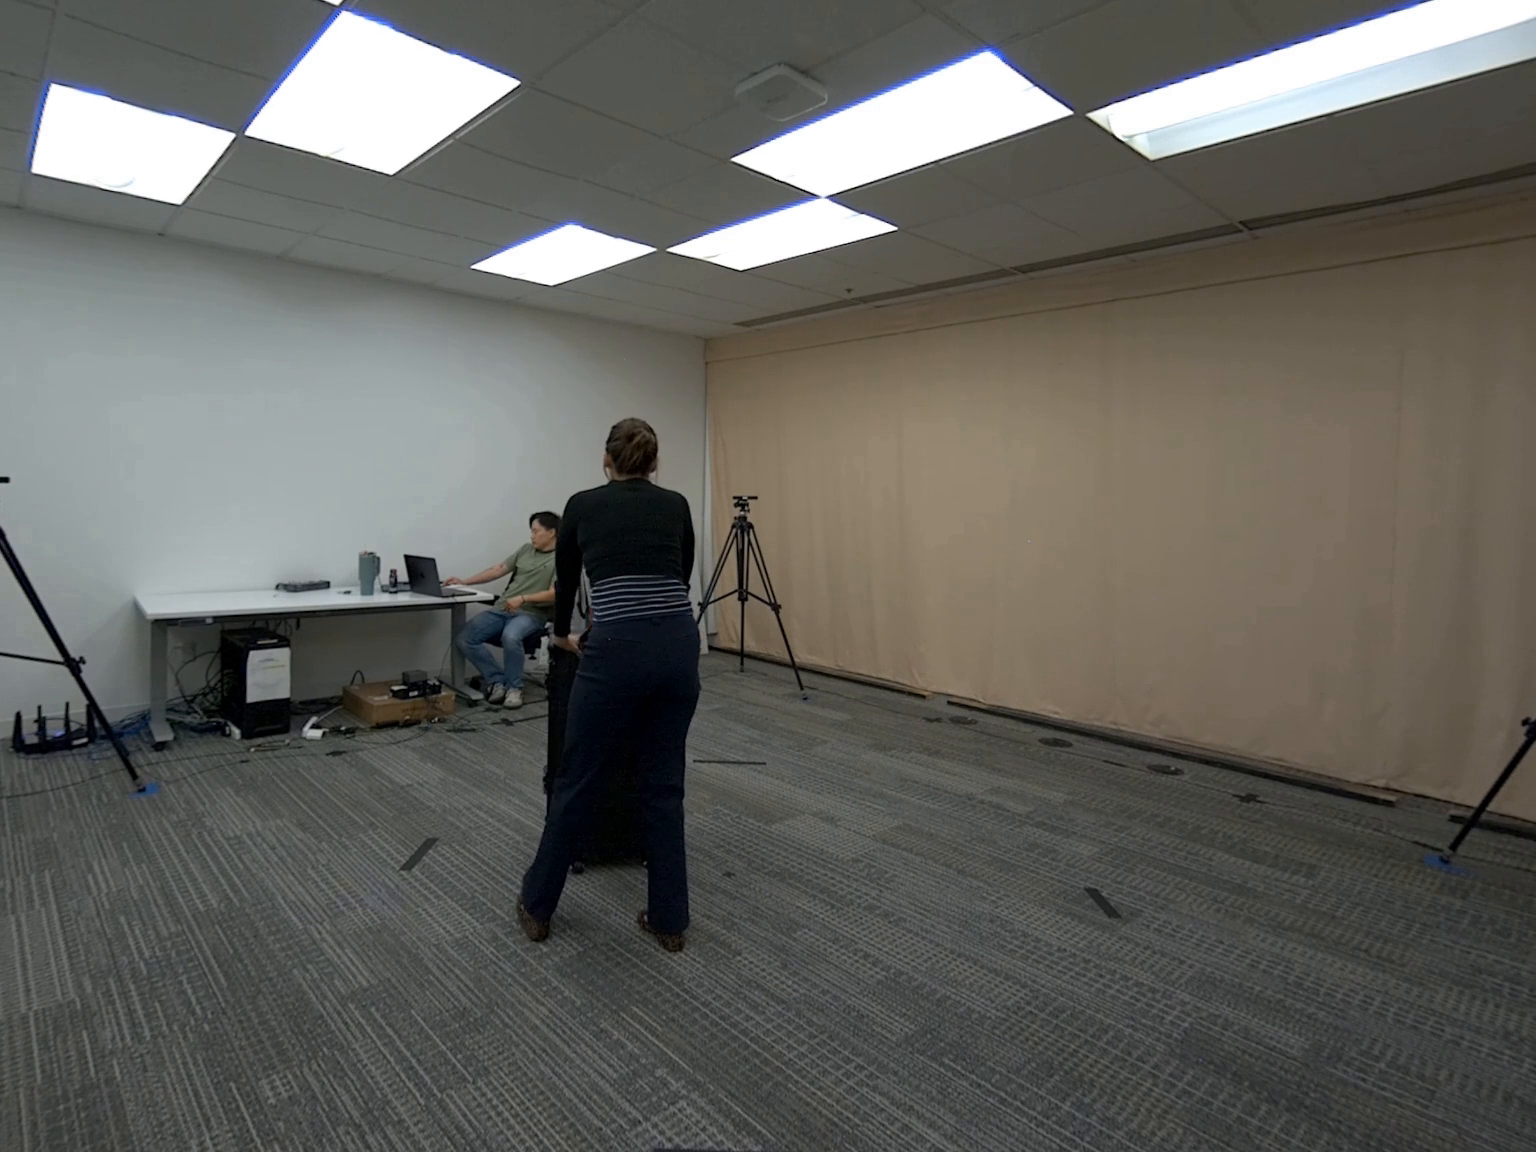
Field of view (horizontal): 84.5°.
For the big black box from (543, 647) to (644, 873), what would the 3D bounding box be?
[{"bbox_3d":[-0.605,0.653,3.240,0.516,0.859,0.401,1,4,-13],"label":"big black box"}]
